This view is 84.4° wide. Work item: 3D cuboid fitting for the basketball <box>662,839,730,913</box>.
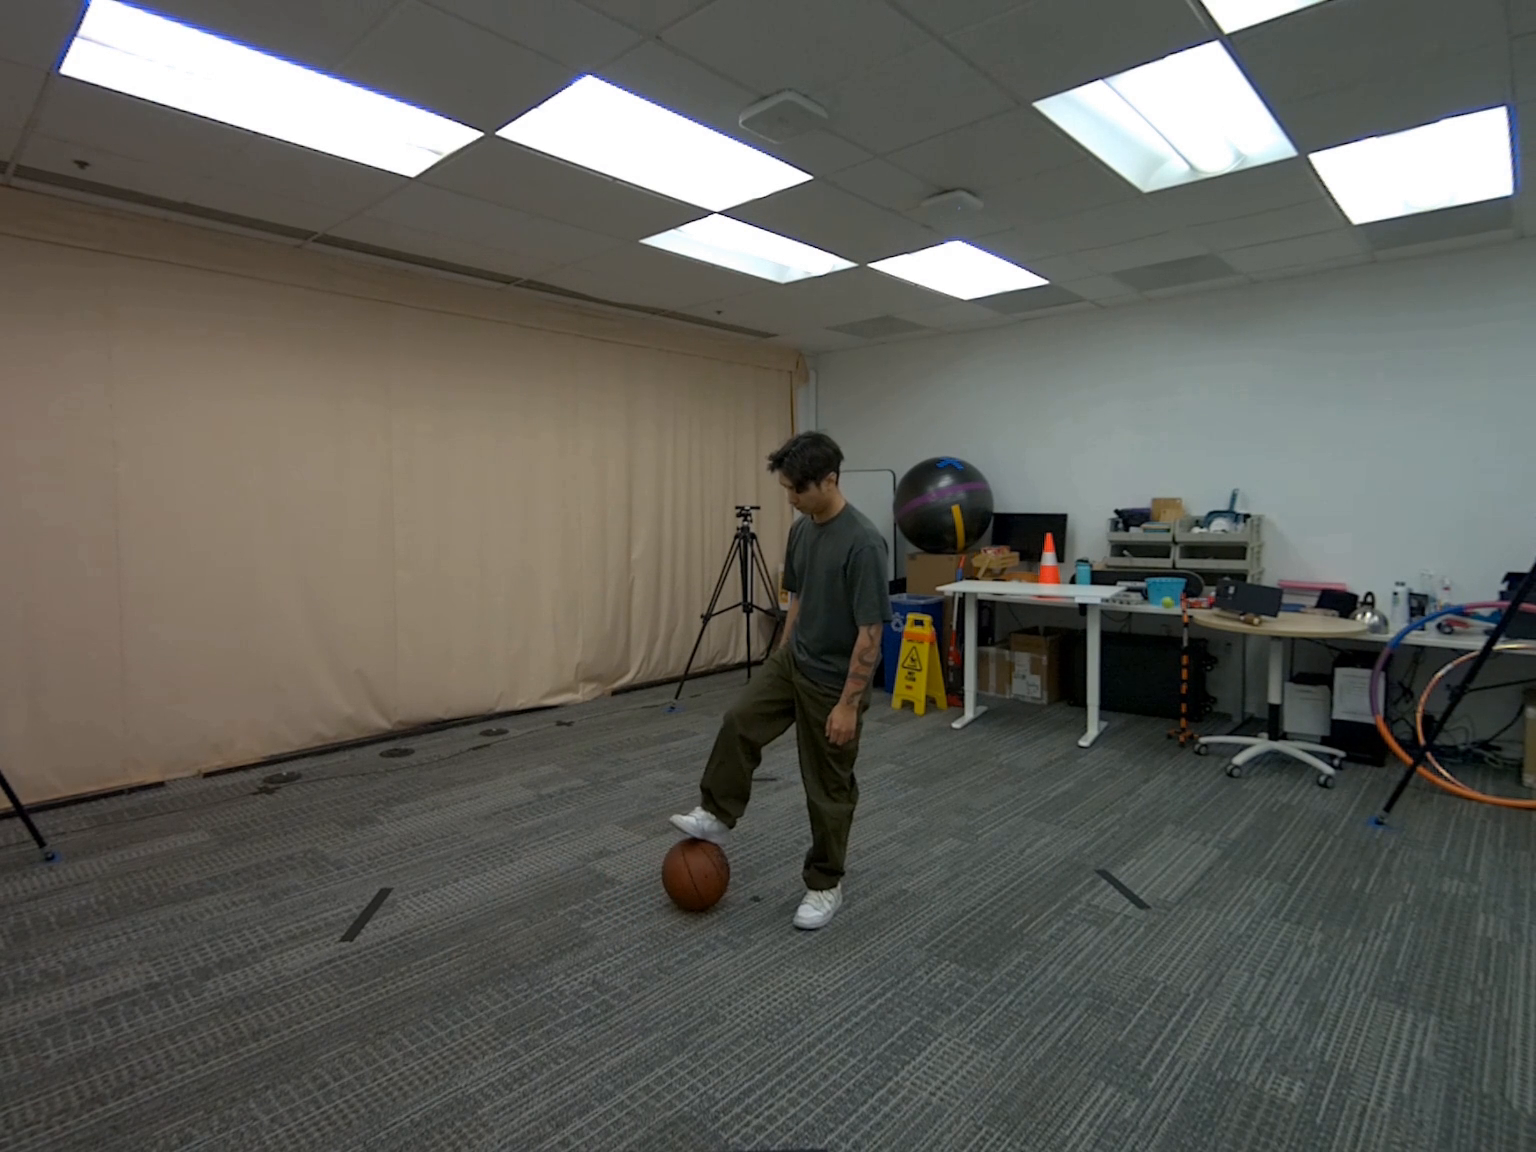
[{"bbox_3d":[-0.245,1.035,2.931,0.236,0.235,0.237,0,4,-2],"label":"basketball"}]
